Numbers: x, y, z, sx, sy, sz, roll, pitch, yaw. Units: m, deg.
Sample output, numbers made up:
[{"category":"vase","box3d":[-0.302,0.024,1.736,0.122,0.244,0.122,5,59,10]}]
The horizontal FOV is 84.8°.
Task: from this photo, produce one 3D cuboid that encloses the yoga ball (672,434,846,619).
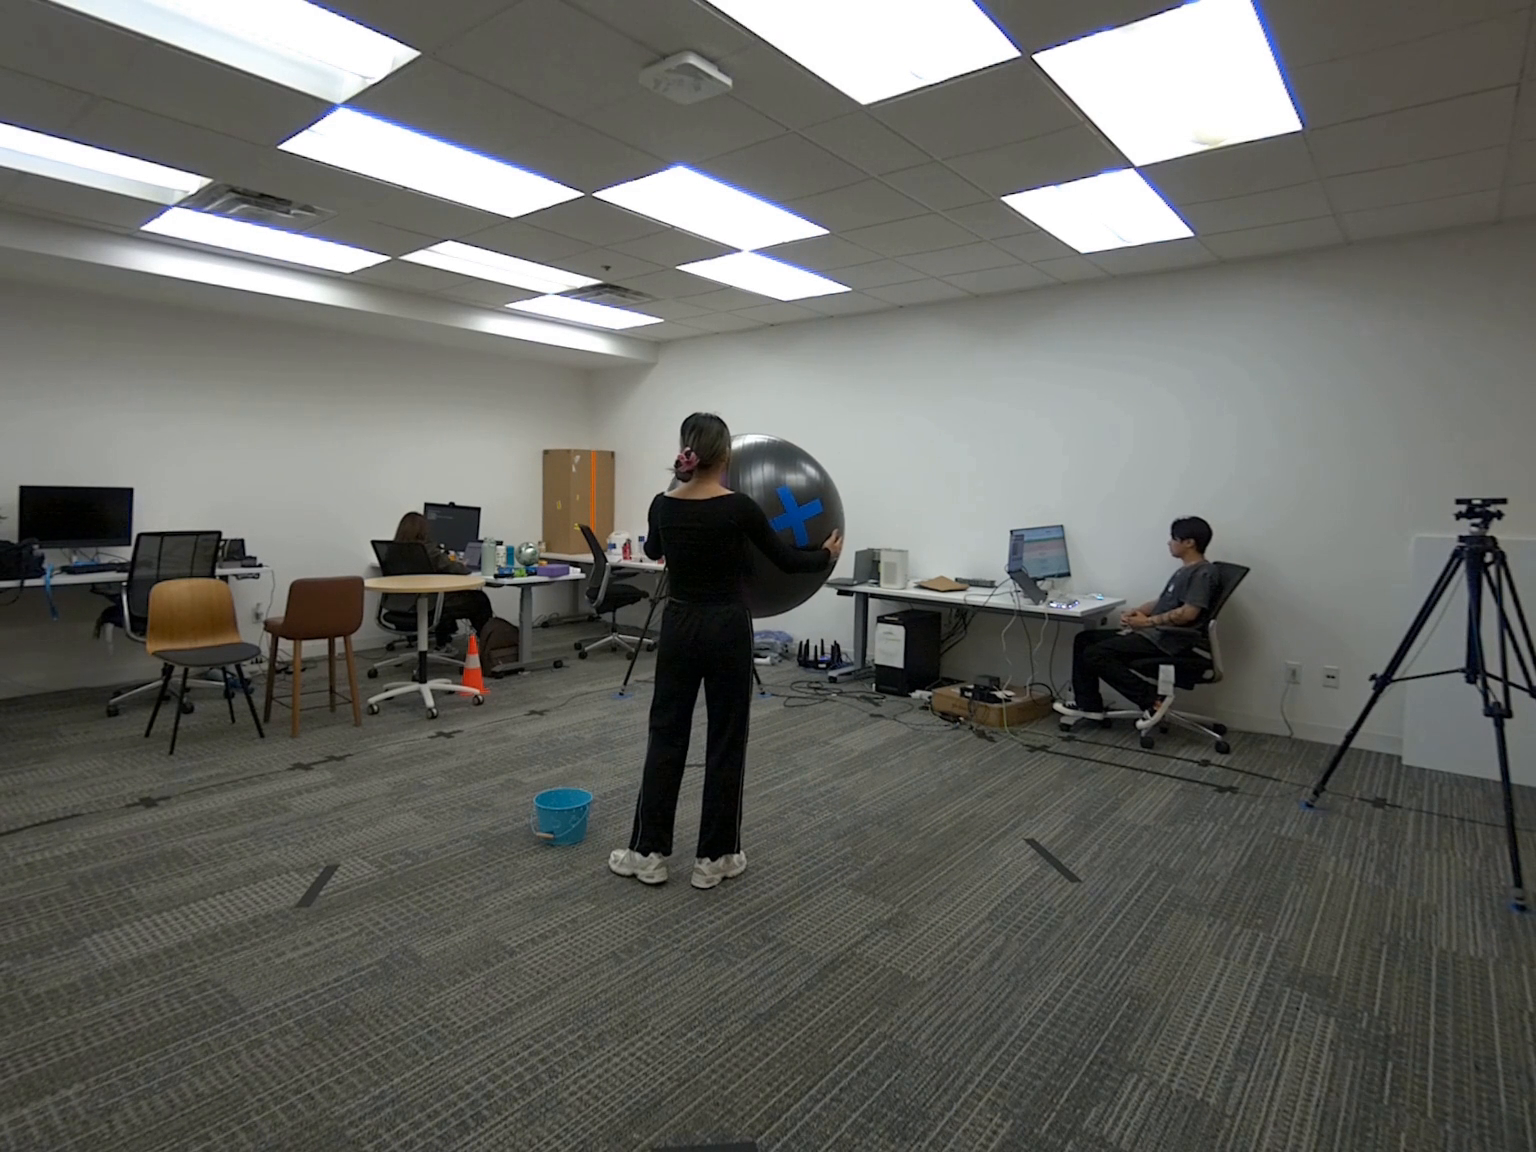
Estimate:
[{"category":"yoga ball","box3d":[-0.075,-0.202,3.496,0.757,0.755,0.762,1,4,-2]}]
